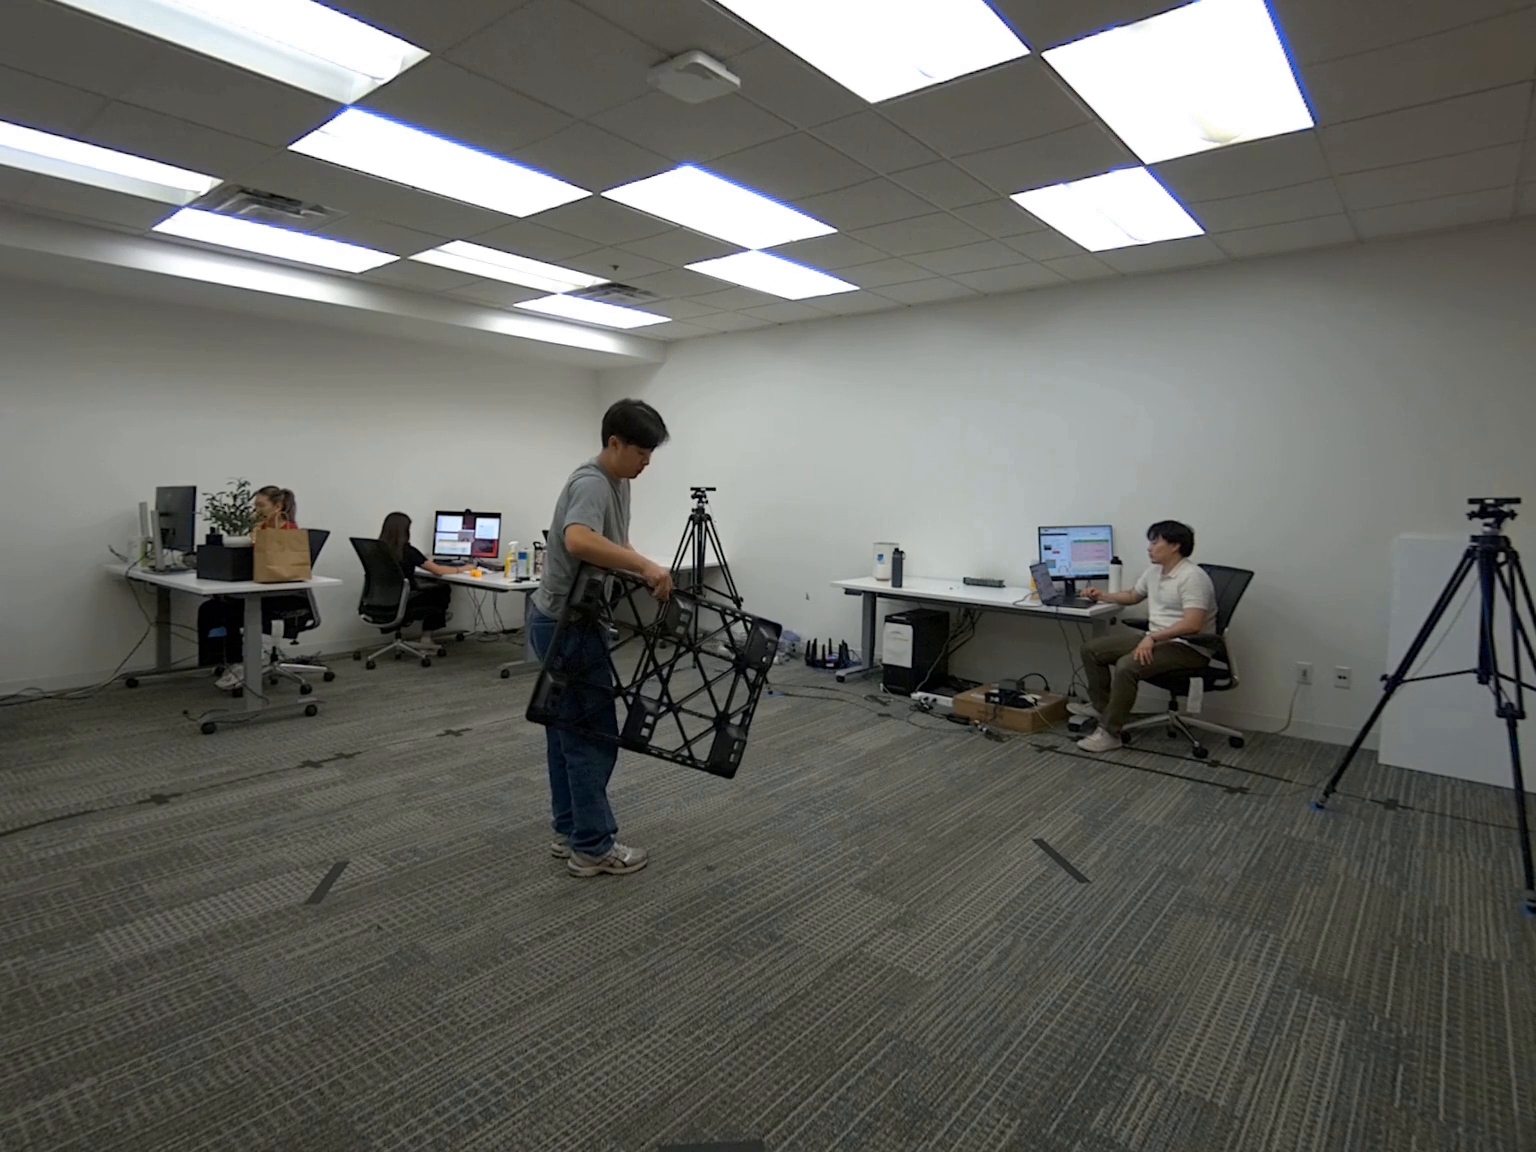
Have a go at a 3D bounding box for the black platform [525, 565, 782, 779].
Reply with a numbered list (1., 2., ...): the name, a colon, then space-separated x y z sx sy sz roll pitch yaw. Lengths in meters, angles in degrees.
1. black platform: -0.388 0.344 3.016 0.789 0.606 0.146 19 -4 -15
